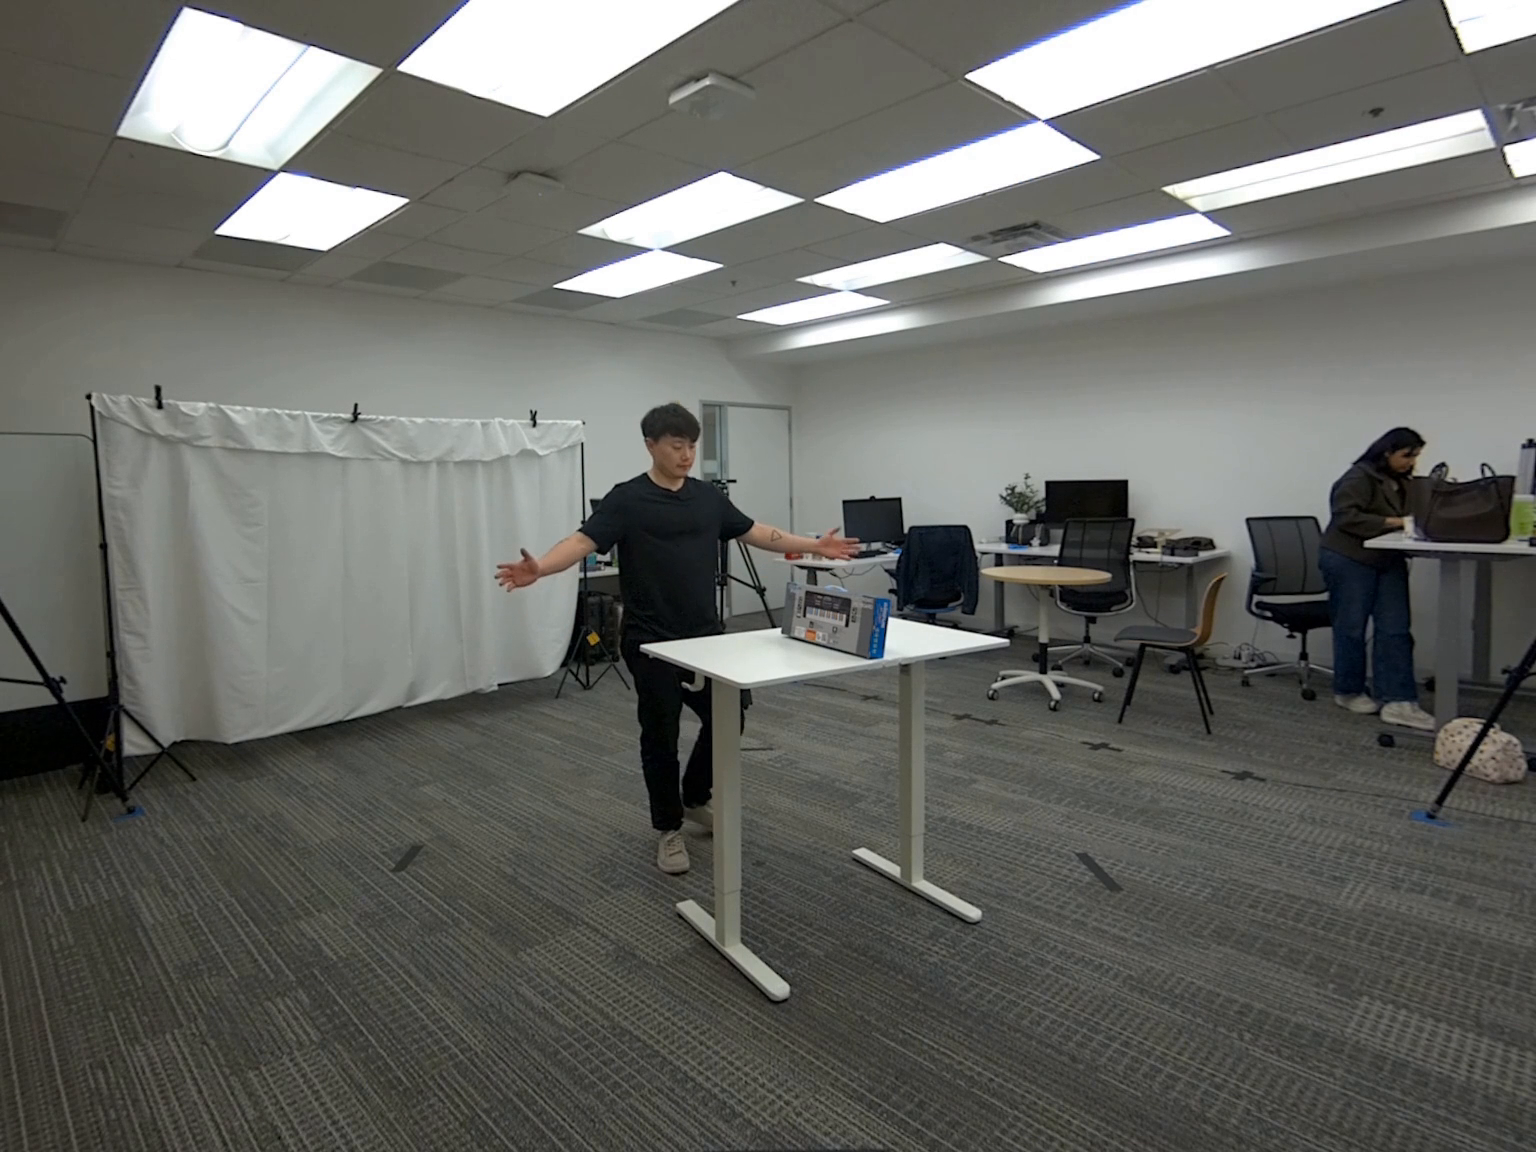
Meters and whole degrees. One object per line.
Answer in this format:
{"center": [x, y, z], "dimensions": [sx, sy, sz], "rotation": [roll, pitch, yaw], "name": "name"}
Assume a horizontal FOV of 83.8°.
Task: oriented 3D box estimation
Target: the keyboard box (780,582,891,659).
{"center": [0.198, 0.129, 2.610], "dimensions": [0.057, 0.176, 0.449], "rotation": [5, 2, -32], "name": "keyboard box"}
